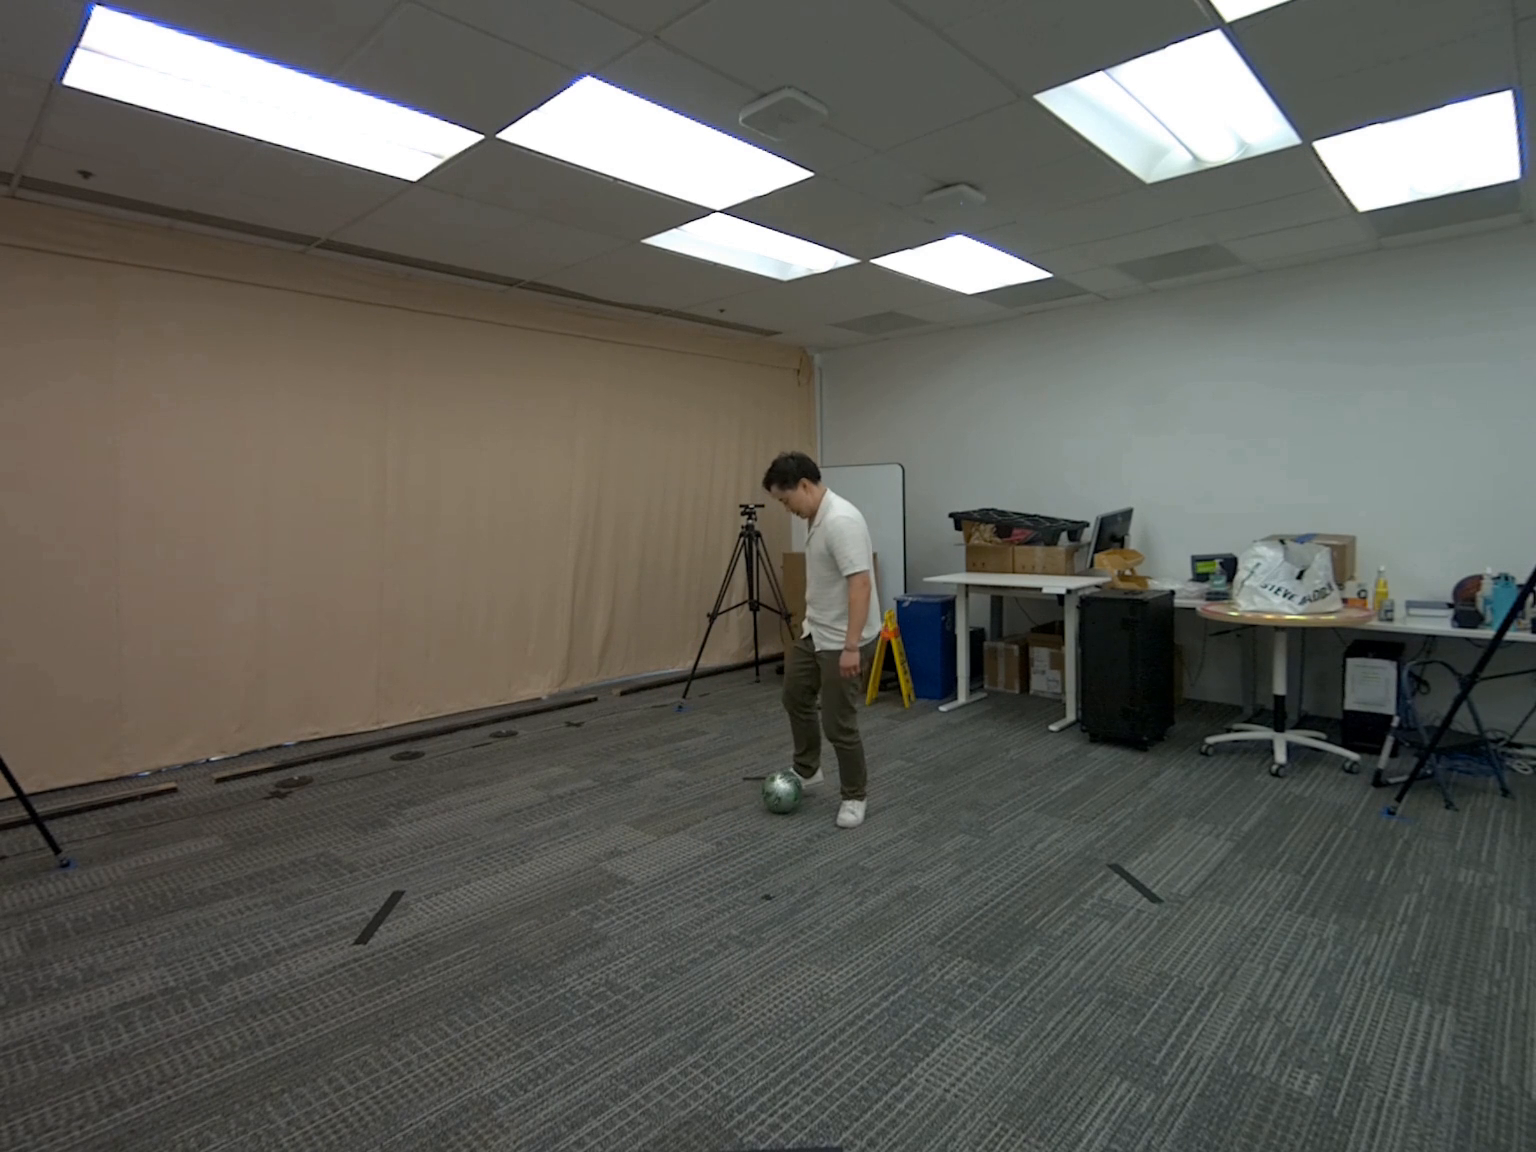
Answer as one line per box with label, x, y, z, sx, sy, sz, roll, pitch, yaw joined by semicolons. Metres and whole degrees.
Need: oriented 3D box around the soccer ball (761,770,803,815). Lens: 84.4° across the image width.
soccer ball;0.063;0.981;3.806;0.187;0.187;0.188;-1;4;-2
